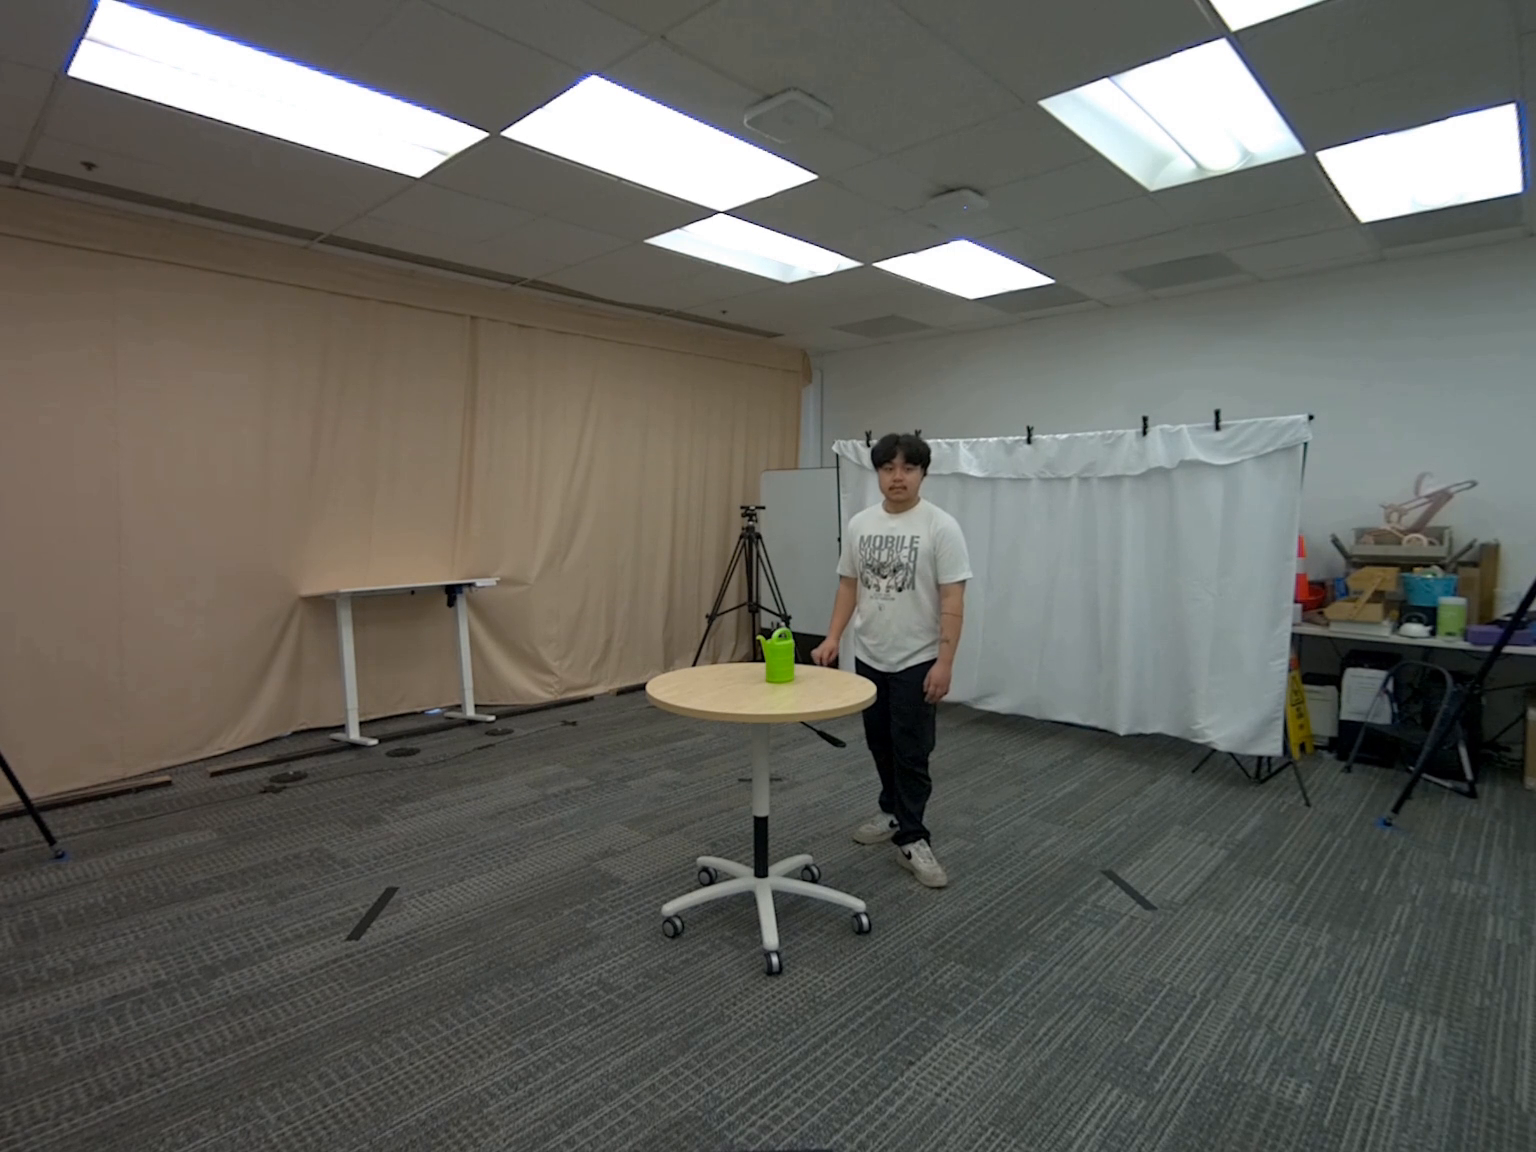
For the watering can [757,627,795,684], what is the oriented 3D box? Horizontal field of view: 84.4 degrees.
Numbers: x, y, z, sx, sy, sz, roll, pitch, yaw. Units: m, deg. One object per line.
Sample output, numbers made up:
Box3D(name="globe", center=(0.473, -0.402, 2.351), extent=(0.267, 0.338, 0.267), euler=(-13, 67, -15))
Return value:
Box3D(name="watering can", center=(0.019, 0.276, 2.858), extent=(0.101, 0.176, 0.270), euler=(5, 6, 38))
